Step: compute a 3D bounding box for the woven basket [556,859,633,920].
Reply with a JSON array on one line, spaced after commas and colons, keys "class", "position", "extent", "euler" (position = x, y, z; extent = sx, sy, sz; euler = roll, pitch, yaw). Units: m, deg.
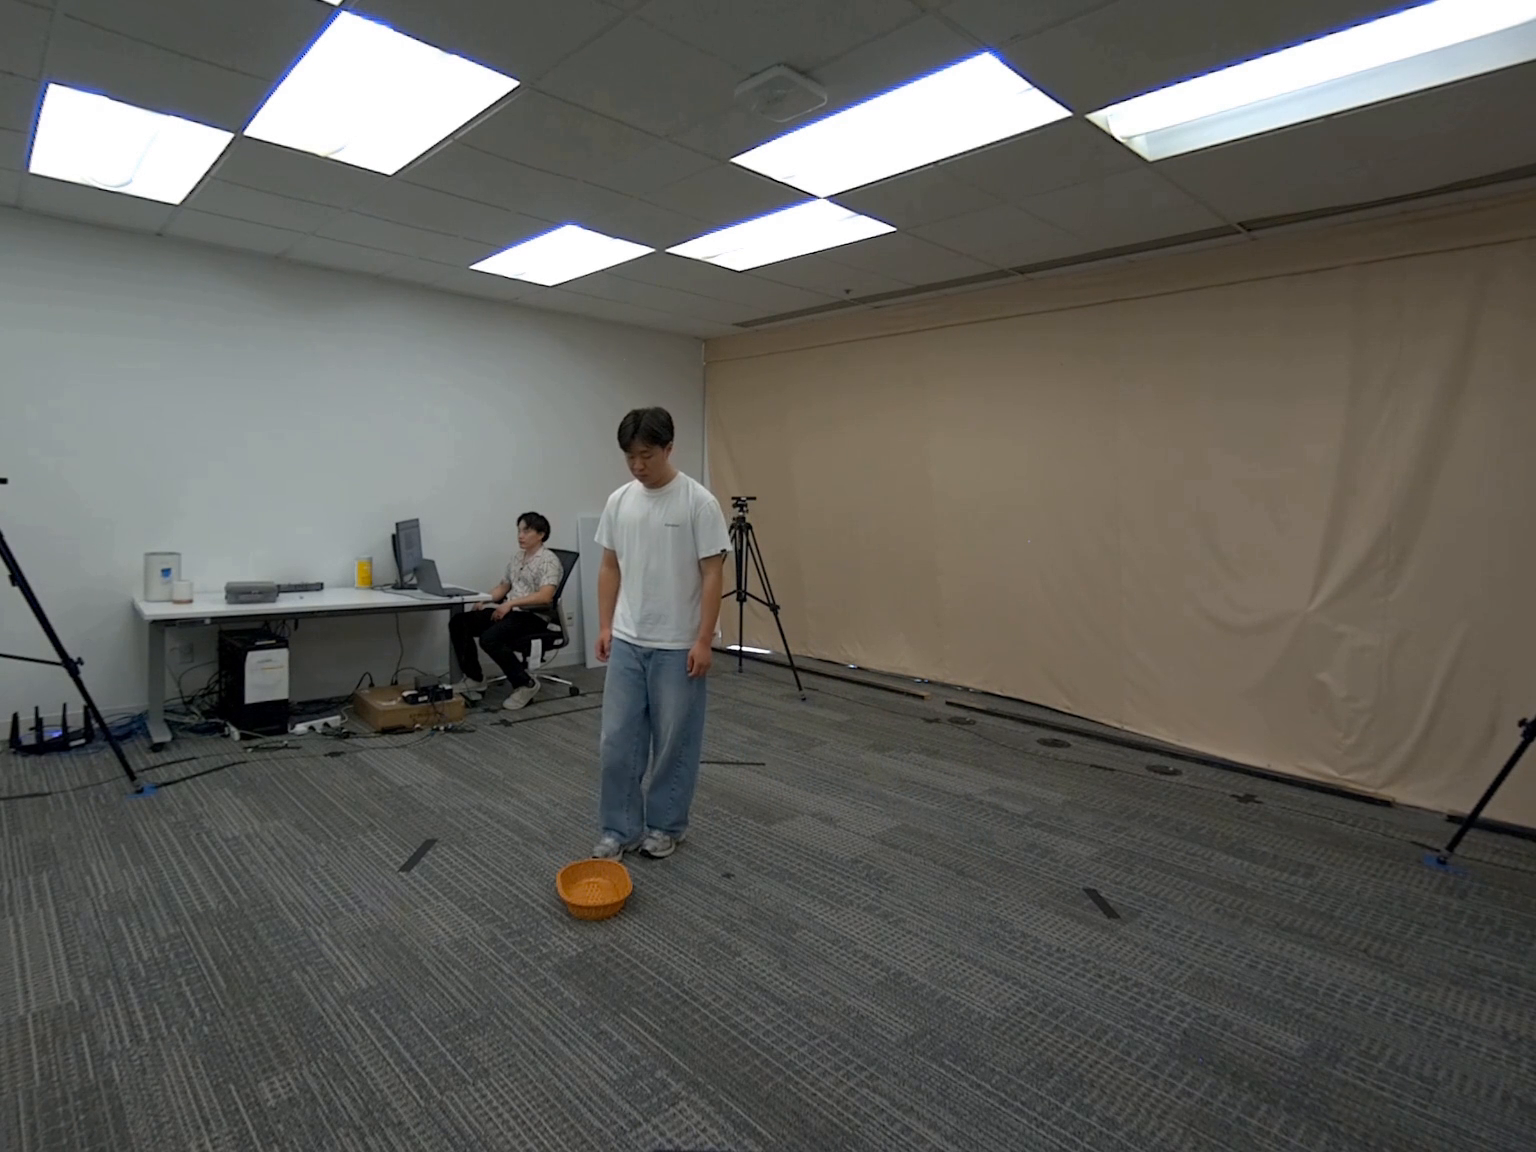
[{"class": "woven basket", "position": [-0.615, 1.079, 2.890], "extent": [0.249, 0.073, 0.355], "euler": [0, 6, -15]}]
